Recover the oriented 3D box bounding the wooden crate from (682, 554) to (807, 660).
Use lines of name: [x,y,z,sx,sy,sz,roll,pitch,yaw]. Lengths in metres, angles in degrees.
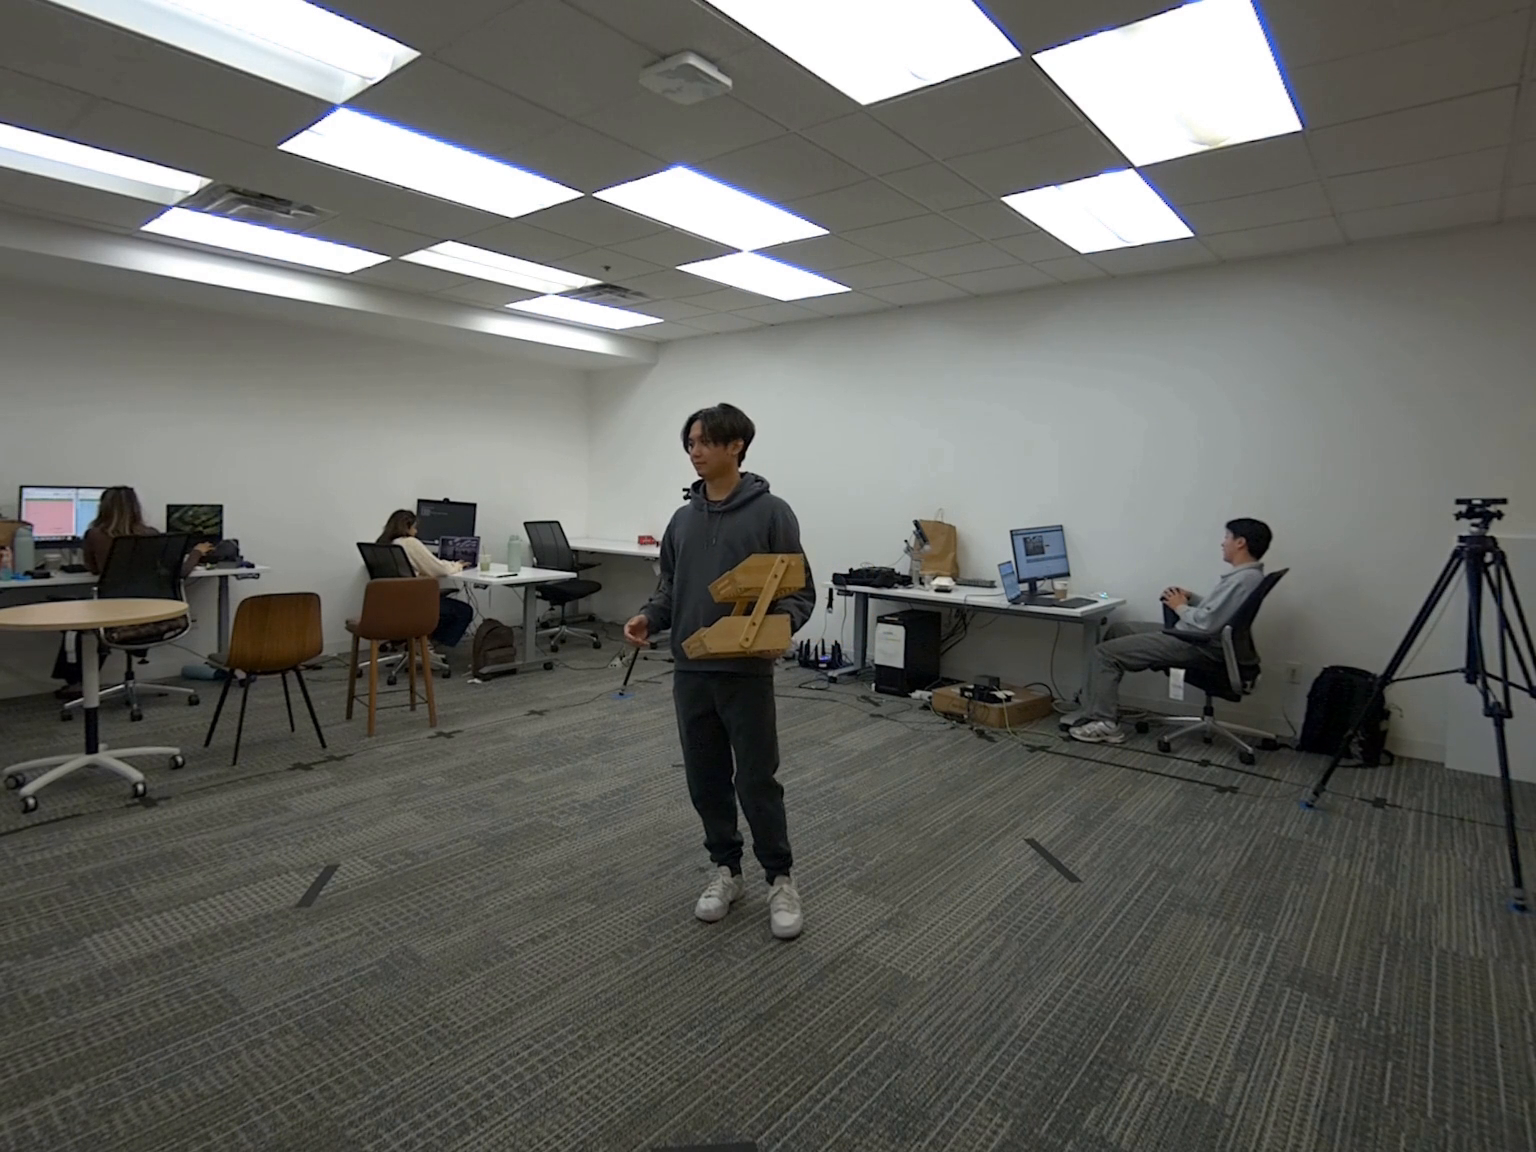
wooden crate: [-0.096,0.087,2.450,0.298,0.276,0.325,-3,-10,-15]
